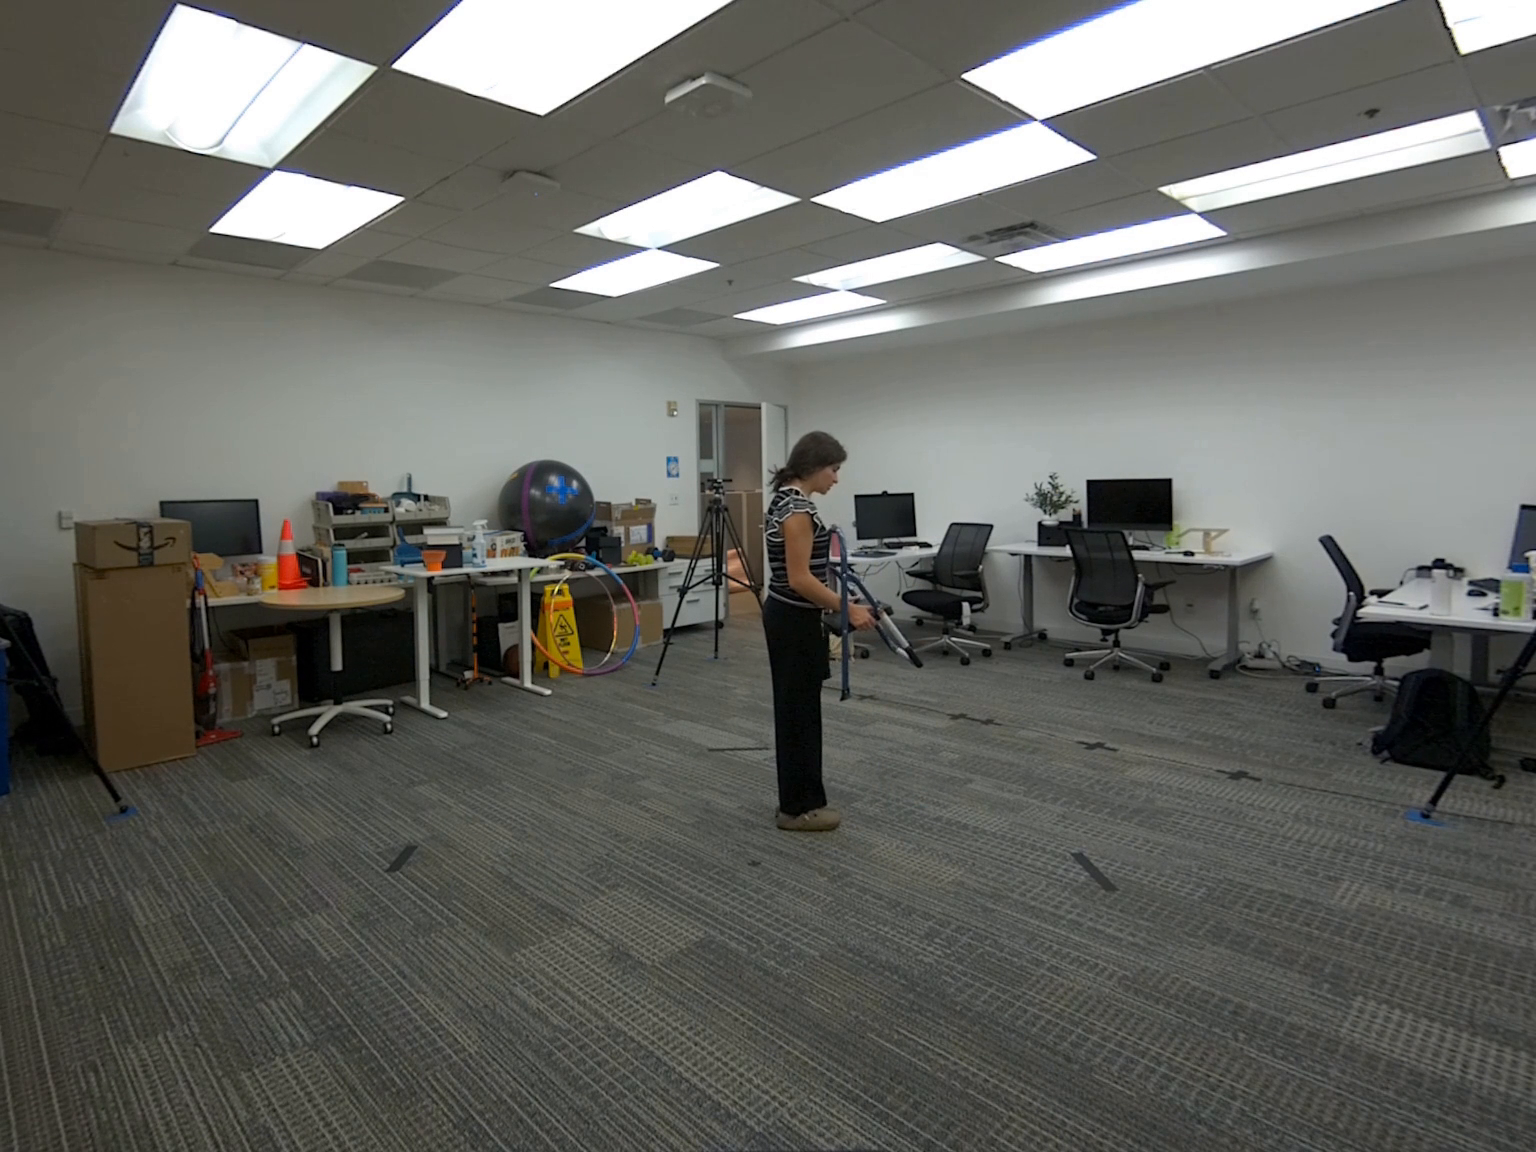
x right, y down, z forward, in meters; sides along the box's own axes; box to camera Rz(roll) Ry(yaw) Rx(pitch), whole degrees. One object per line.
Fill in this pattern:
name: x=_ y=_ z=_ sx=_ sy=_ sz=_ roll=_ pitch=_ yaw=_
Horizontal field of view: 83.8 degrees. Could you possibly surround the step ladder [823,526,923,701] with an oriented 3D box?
step ladder: x=0.307 y=0.116 z=3.453 sx=0.348 sy=0.602 sz=0.435 roll=-21 pitch=6 yaw=-6
